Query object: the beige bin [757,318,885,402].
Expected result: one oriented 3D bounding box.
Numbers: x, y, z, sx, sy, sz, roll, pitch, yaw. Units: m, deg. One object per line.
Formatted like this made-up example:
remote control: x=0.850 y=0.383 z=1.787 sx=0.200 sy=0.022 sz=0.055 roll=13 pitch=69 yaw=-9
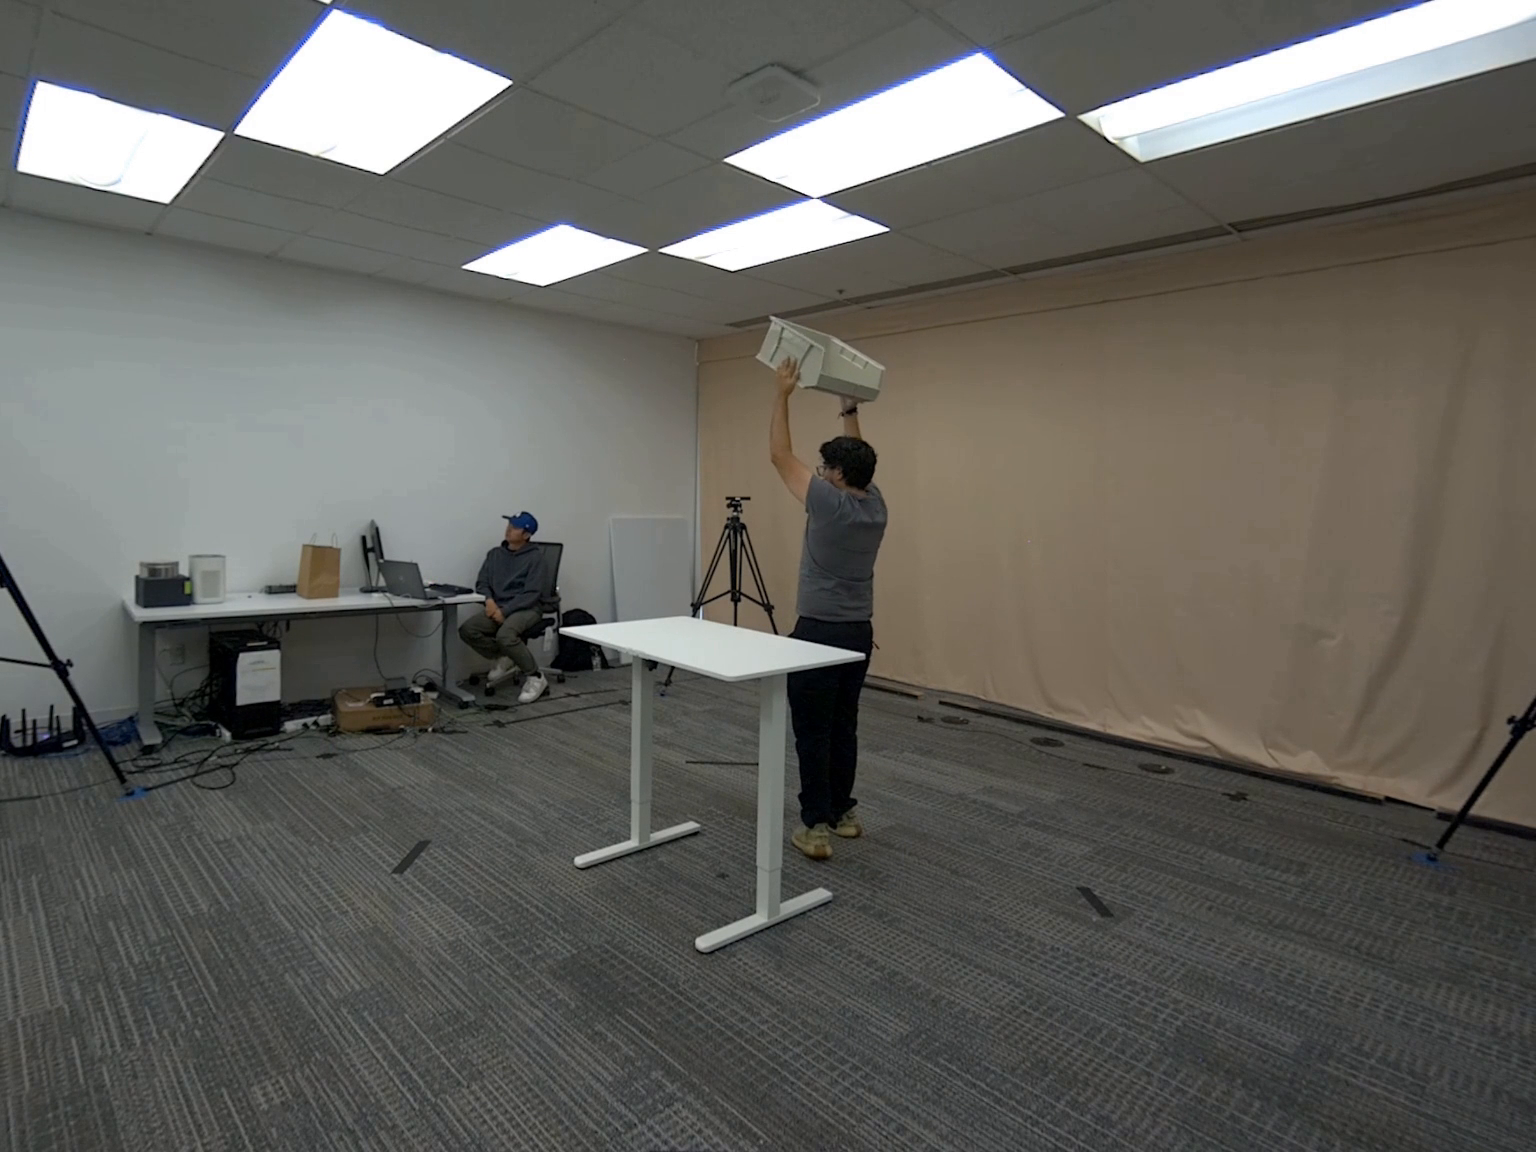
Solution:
beige bin: x=0.217 y=-0.895 z=3.548 sx=0.412 sy=0.188 sz=0.389 roll=0 pitch=32 yaw=-47
